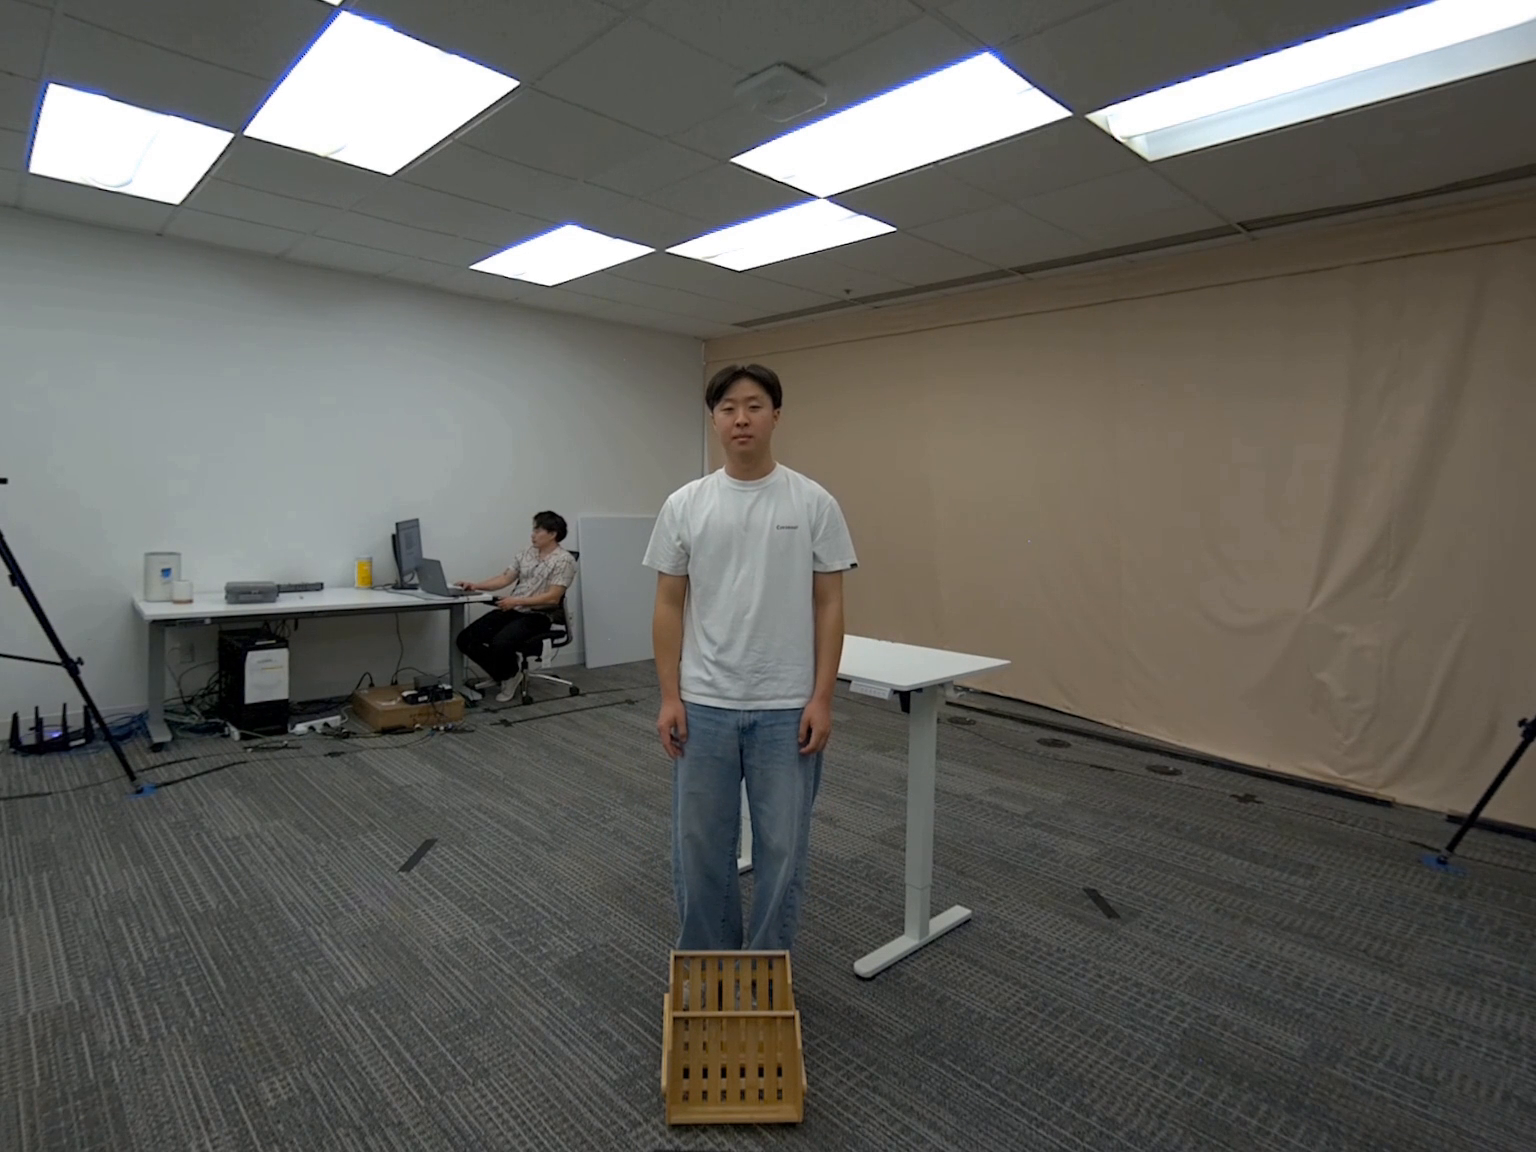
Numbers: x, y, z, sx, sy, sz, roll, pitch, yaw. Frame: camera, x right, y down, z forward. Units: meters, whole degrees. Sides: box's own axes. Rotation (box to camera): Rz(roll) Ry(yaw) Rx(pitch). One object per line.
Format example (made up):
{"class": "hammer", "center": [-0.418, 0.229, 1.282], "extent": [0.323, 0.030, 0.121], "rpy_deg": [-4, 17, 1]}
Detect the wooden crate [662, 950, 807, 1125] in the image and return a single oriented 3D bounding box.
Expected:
{"class": "wooden crate", "center": [-0.097, 1.085, 1.989], "extent": [0.323, 0.305, 0.271], "rpy_deg": [1, -13, -4]}
